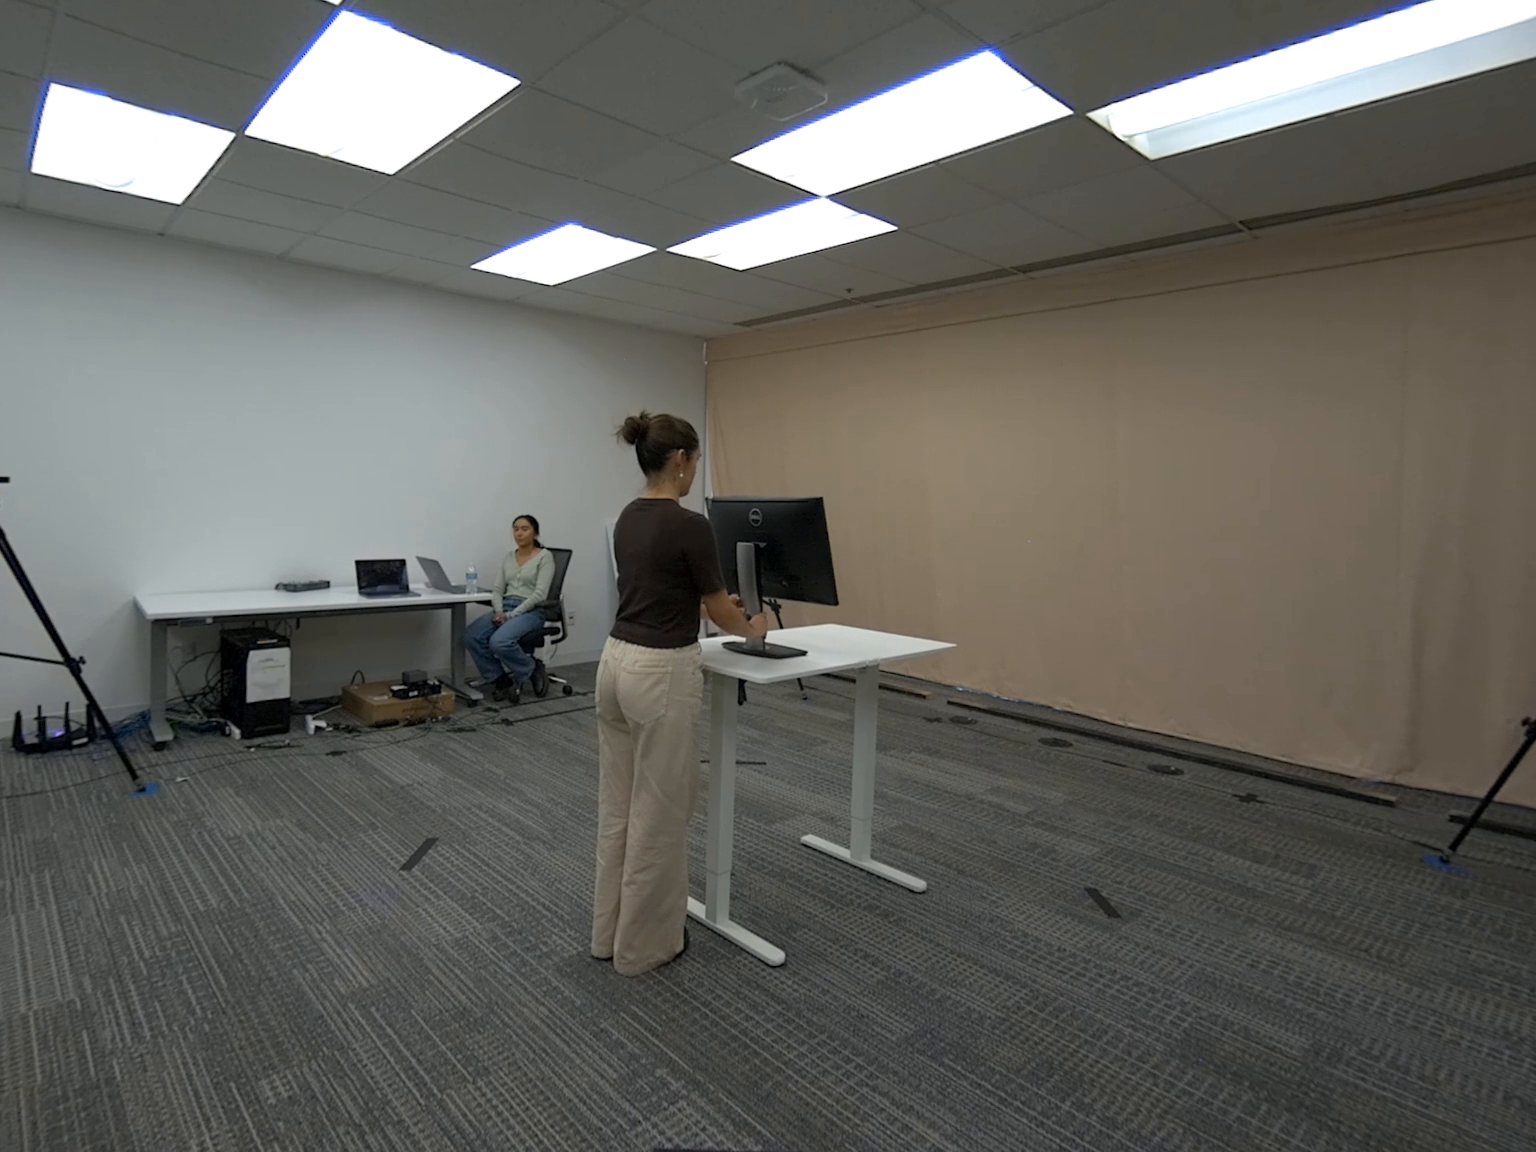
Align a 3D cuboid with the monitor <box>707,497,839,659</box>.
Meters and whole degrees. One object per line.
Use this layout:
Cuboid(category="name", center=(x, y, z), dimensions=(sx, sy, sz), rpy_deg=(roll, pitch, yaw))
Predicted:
Cuboid(category="monitor", center=(-0.016, -0.005, 2.780), dimensions=(0.543, 0.516, 0.170), rpy_deg=(4, 0, 45))
